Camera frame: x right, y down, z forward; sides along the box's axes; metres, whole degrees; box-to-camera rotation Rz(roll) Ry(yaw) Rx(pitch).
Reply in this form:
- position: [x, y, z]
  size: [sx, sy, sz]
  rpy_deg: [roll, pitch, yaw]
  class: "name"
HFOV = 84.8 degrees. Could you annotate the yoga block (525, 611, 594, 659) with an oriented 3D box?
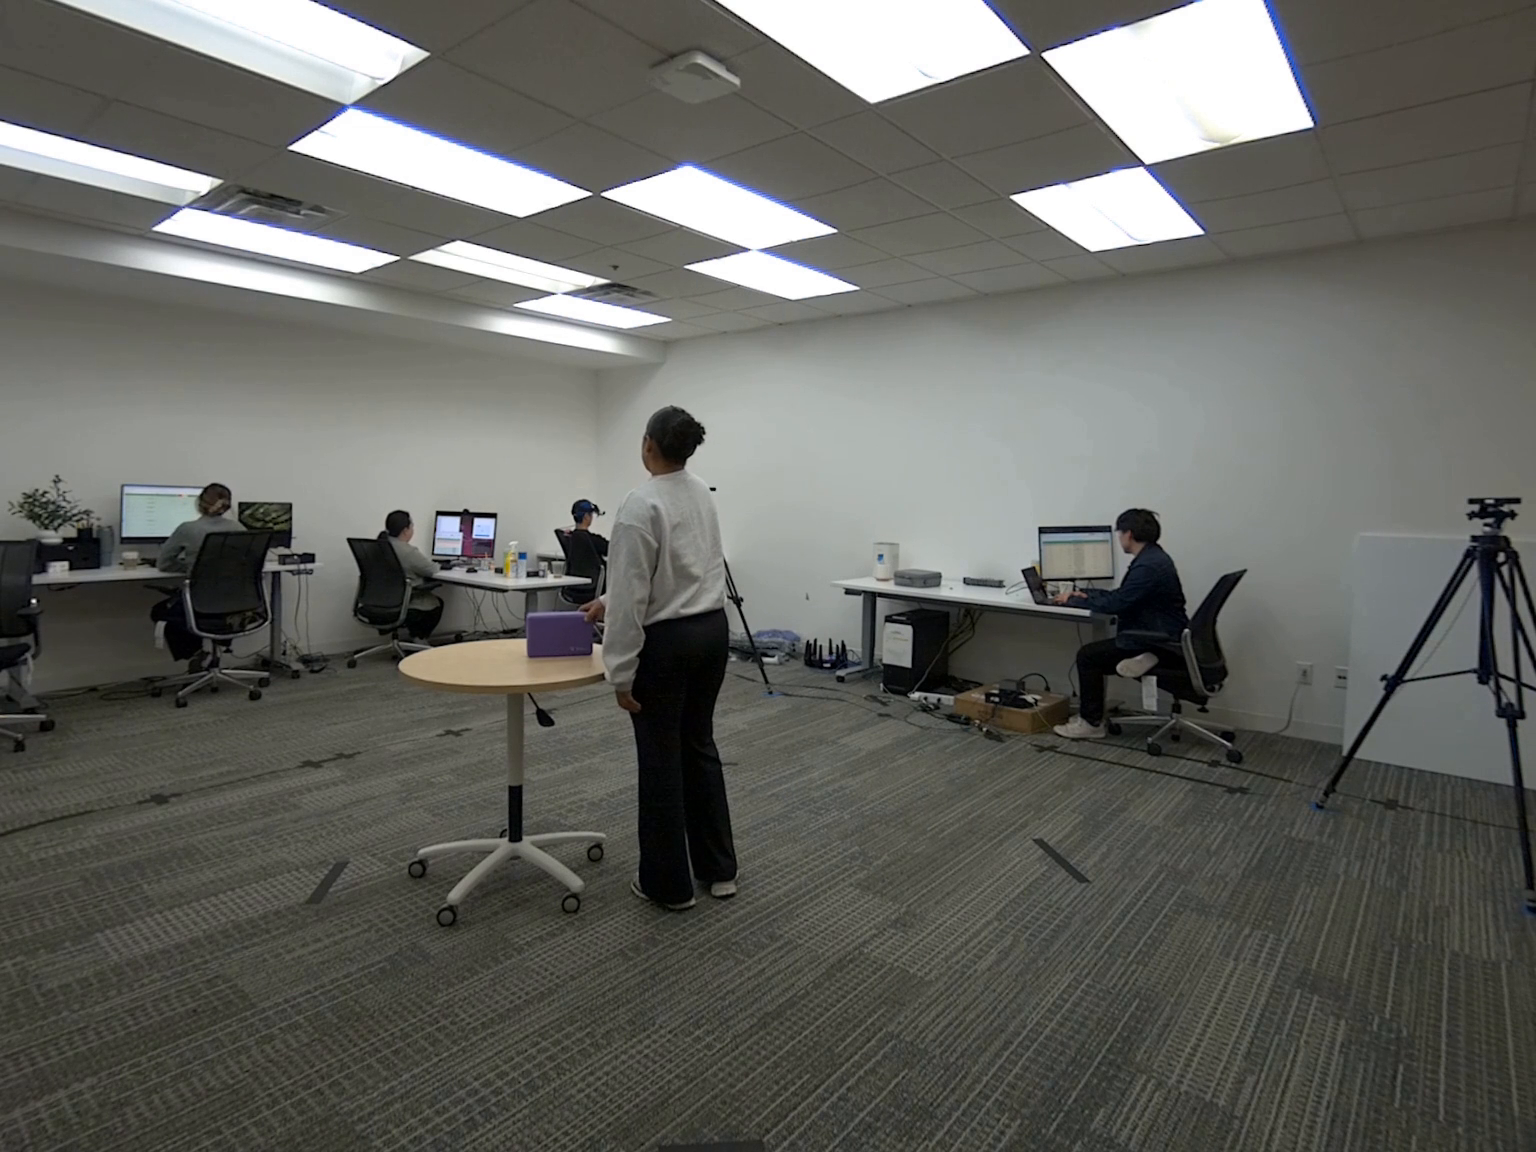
- position: [-0.755, 0.201, 3.043]
  size: [0.226, 0.148, 0.078]
  rpy_deg: [-1, 3, -15]
  class: "yoga block"
